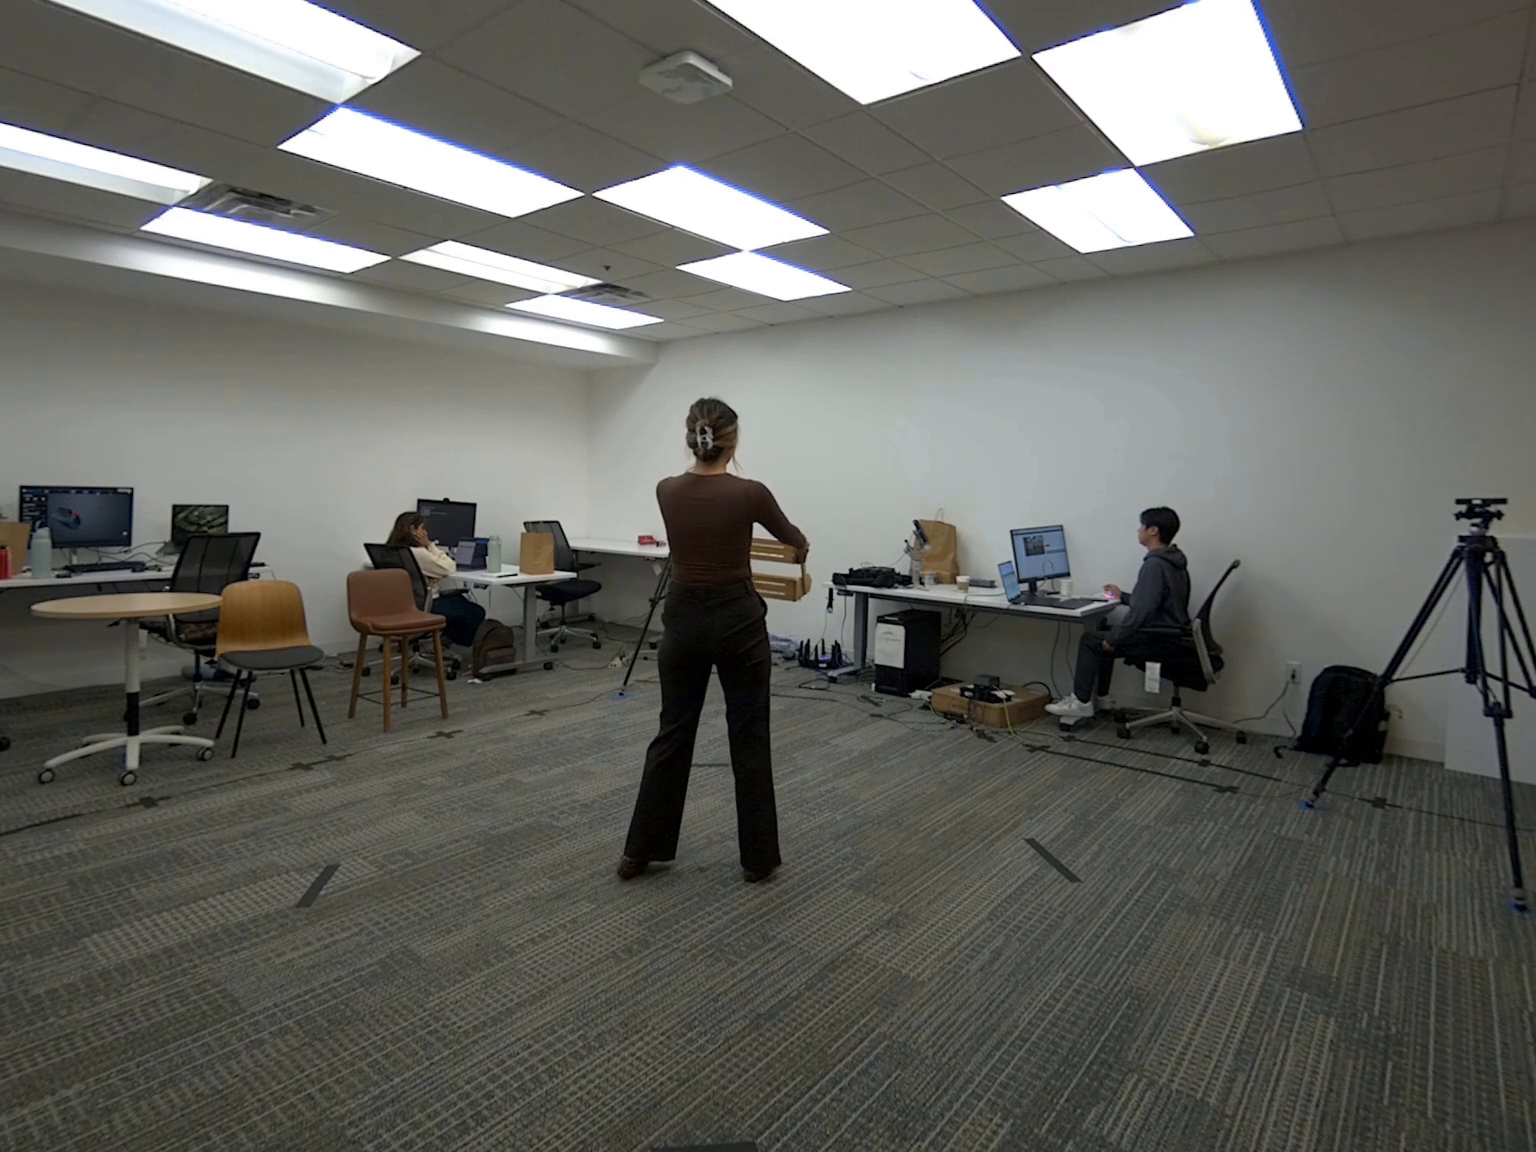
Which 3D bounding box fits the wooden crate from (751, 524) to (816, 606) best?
[{"bbox_3d":[-0.004,-0.061,3.629,0.332,0.271,0.298,6,11,20],"label":"wooden crate"}]
